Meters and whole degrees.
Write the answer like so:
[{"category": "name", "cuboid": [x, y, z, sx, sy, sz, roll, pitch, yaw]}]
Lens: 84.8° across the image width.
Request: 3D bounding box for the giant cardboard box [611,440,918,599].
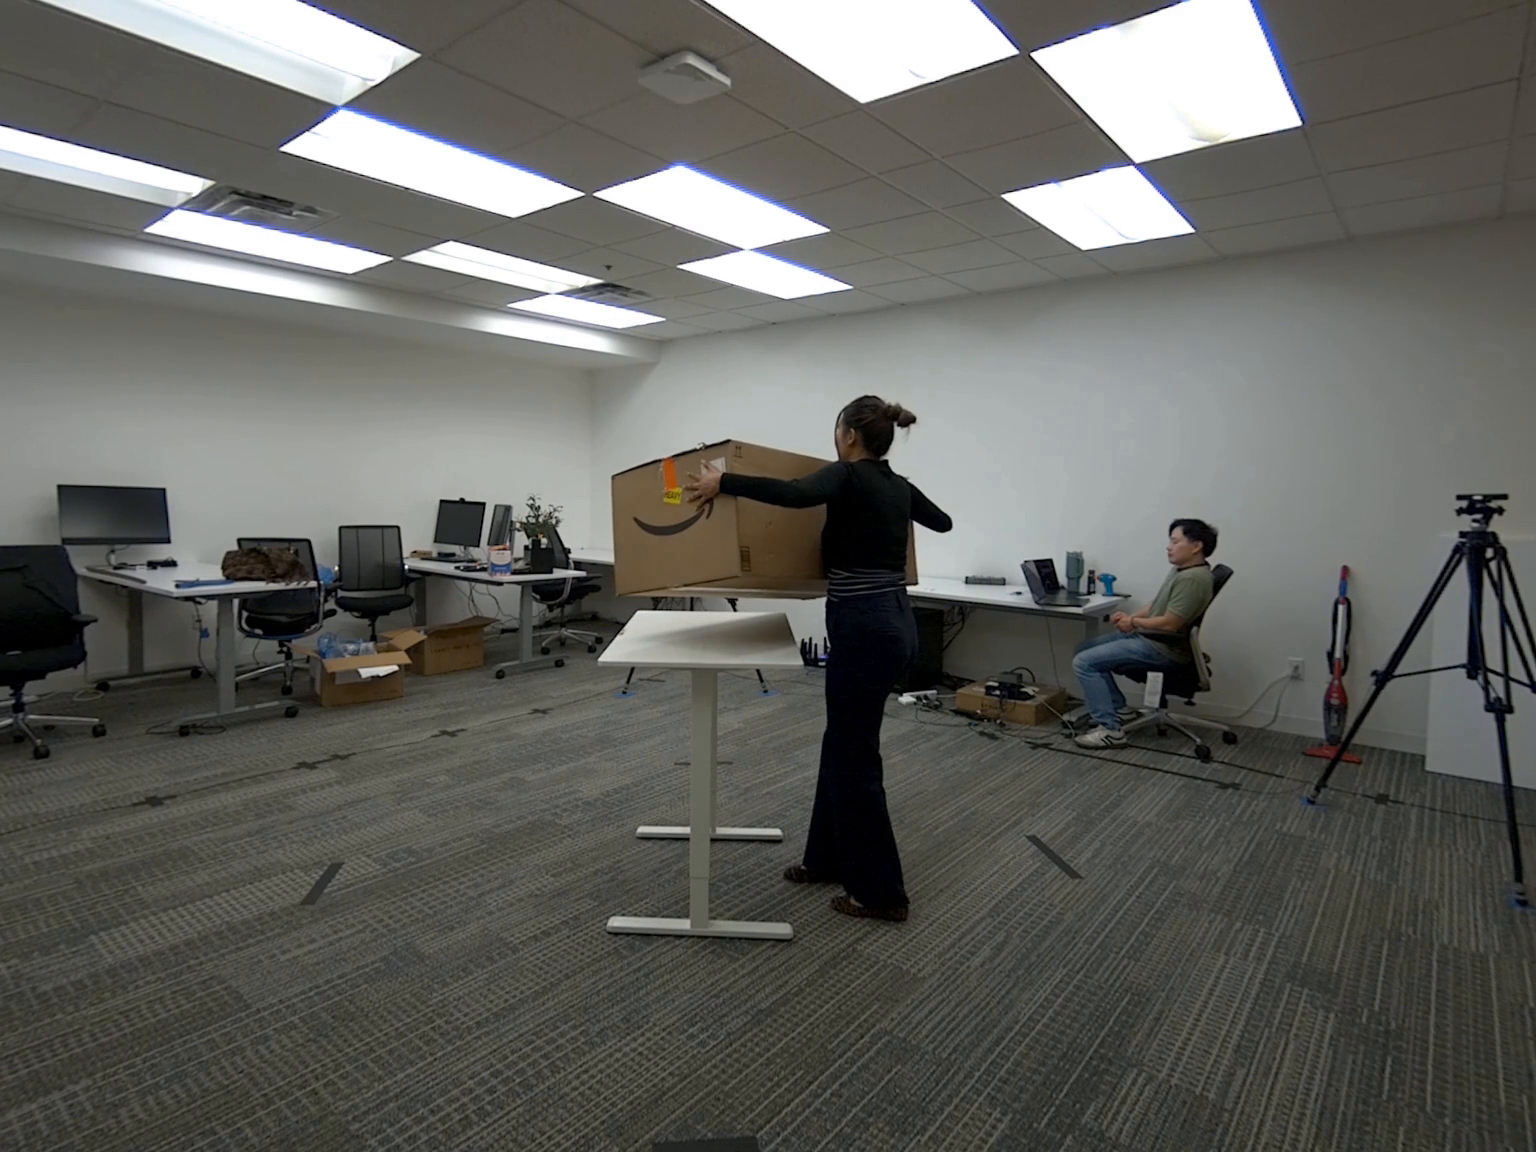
[{"category": "giant cardboard box", "cuboid": [0.002, -0.159, 3.096, 0.592, 0.430, 0.991, -10, -8, 41]}]
